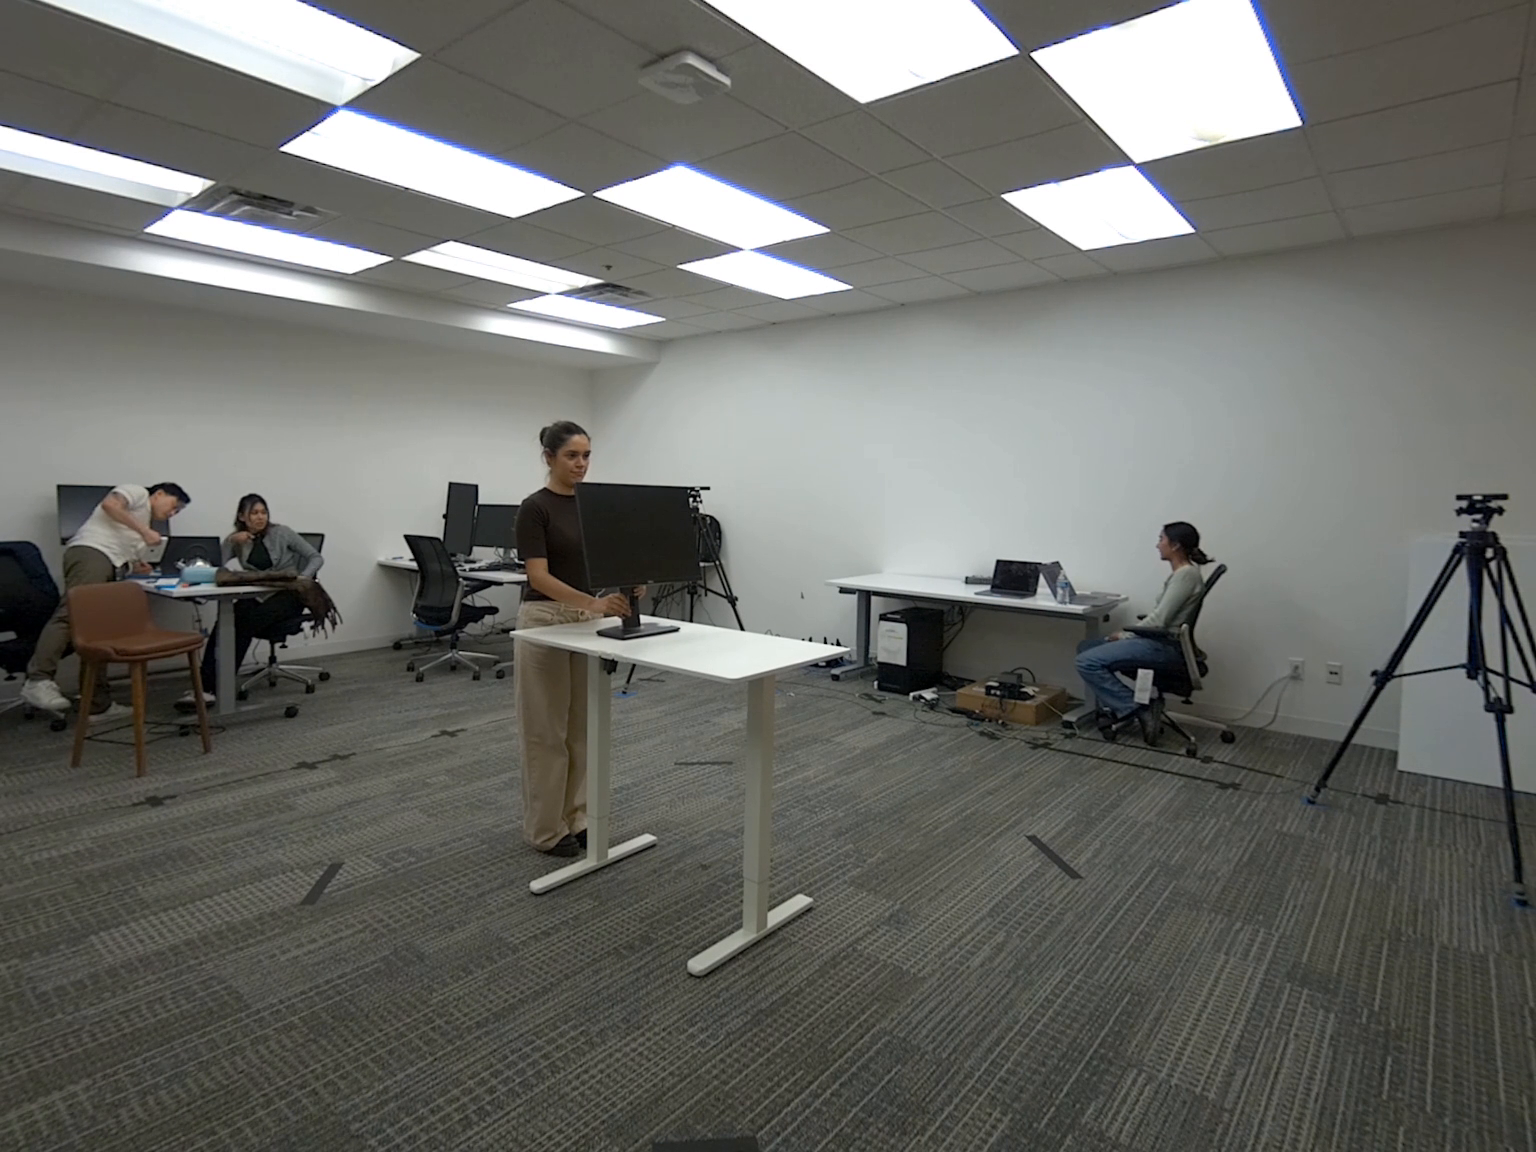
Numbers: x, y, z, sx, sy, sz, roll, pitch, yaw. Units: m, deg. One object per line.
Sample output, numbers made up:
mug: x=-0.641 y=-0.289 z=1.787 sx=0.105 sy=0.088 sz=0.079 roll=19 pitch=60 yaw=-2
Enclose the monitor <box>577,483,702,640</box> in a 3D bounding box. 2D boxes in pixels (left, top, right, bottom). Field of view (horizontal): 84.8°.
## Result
monitor: x=-0.457 y=-0.061 z=2.931 sx=0.181 sy=0.514 sz=0.514 roll=7 pitch=6 yaw=38
